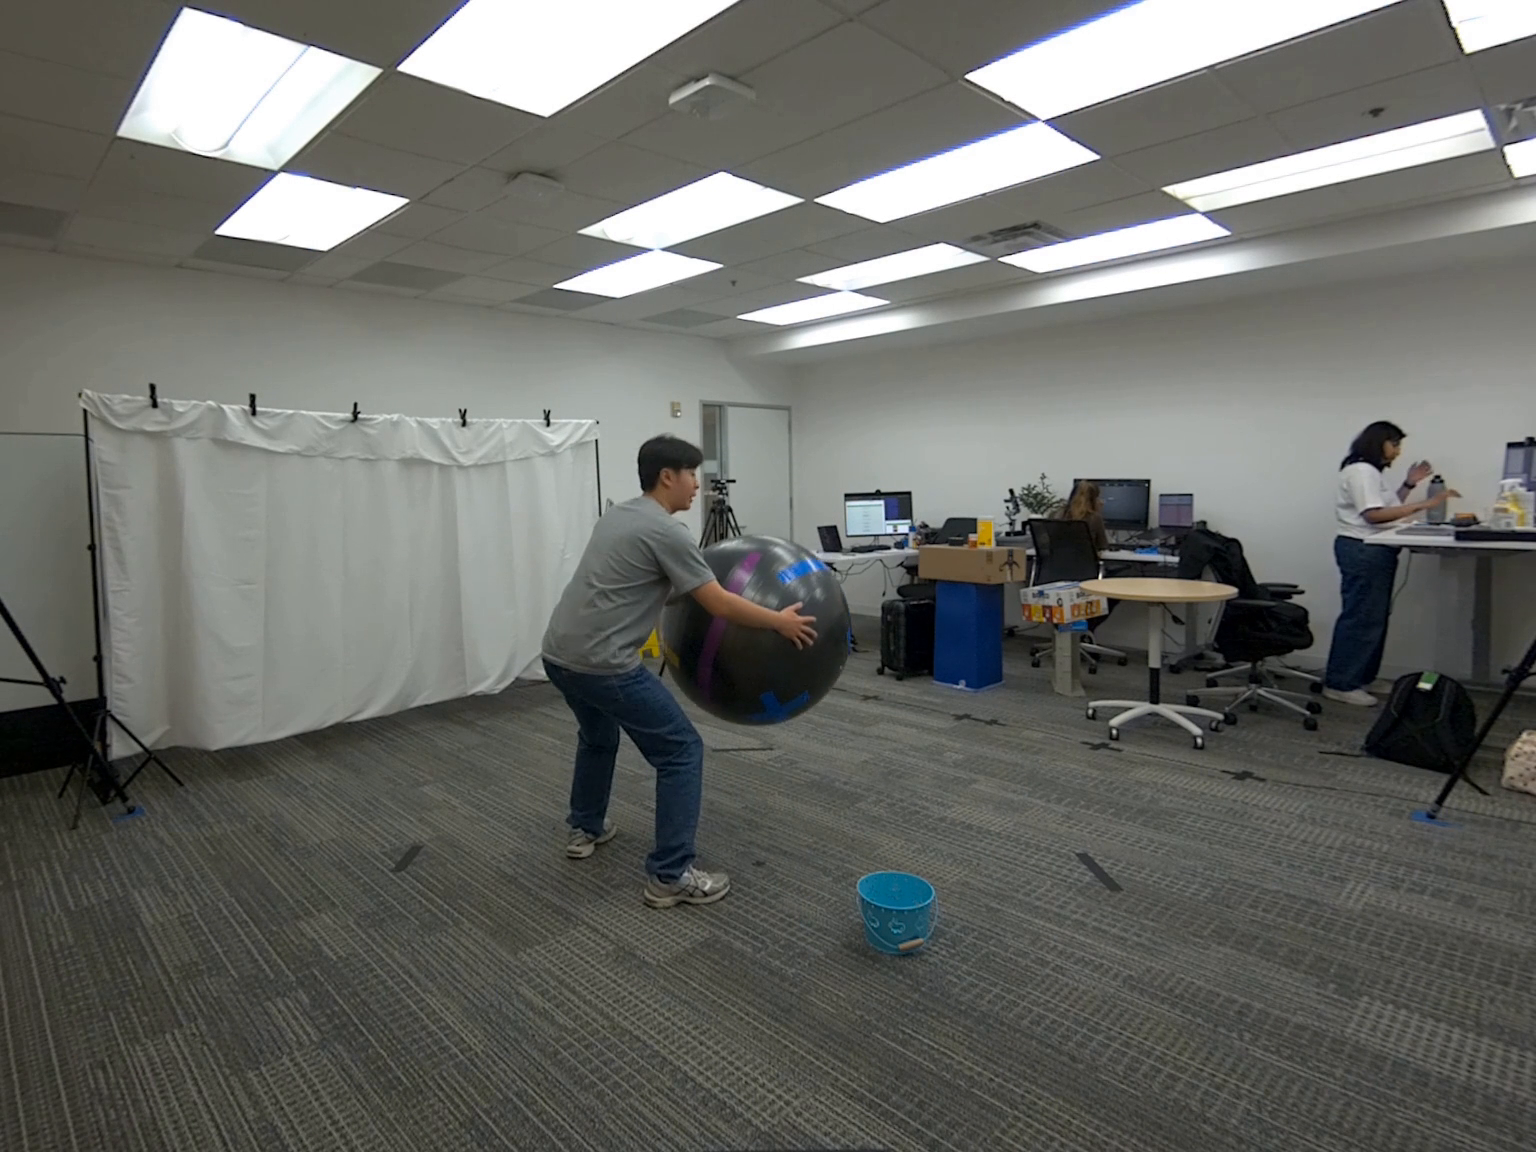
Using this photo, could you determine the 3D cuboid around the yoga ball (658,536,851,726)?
[{"bbox_3d":[-0.050,0.227,3.407,0.757,0.755,0.762,-1,5,-2],"label":"yoga ball"}]
